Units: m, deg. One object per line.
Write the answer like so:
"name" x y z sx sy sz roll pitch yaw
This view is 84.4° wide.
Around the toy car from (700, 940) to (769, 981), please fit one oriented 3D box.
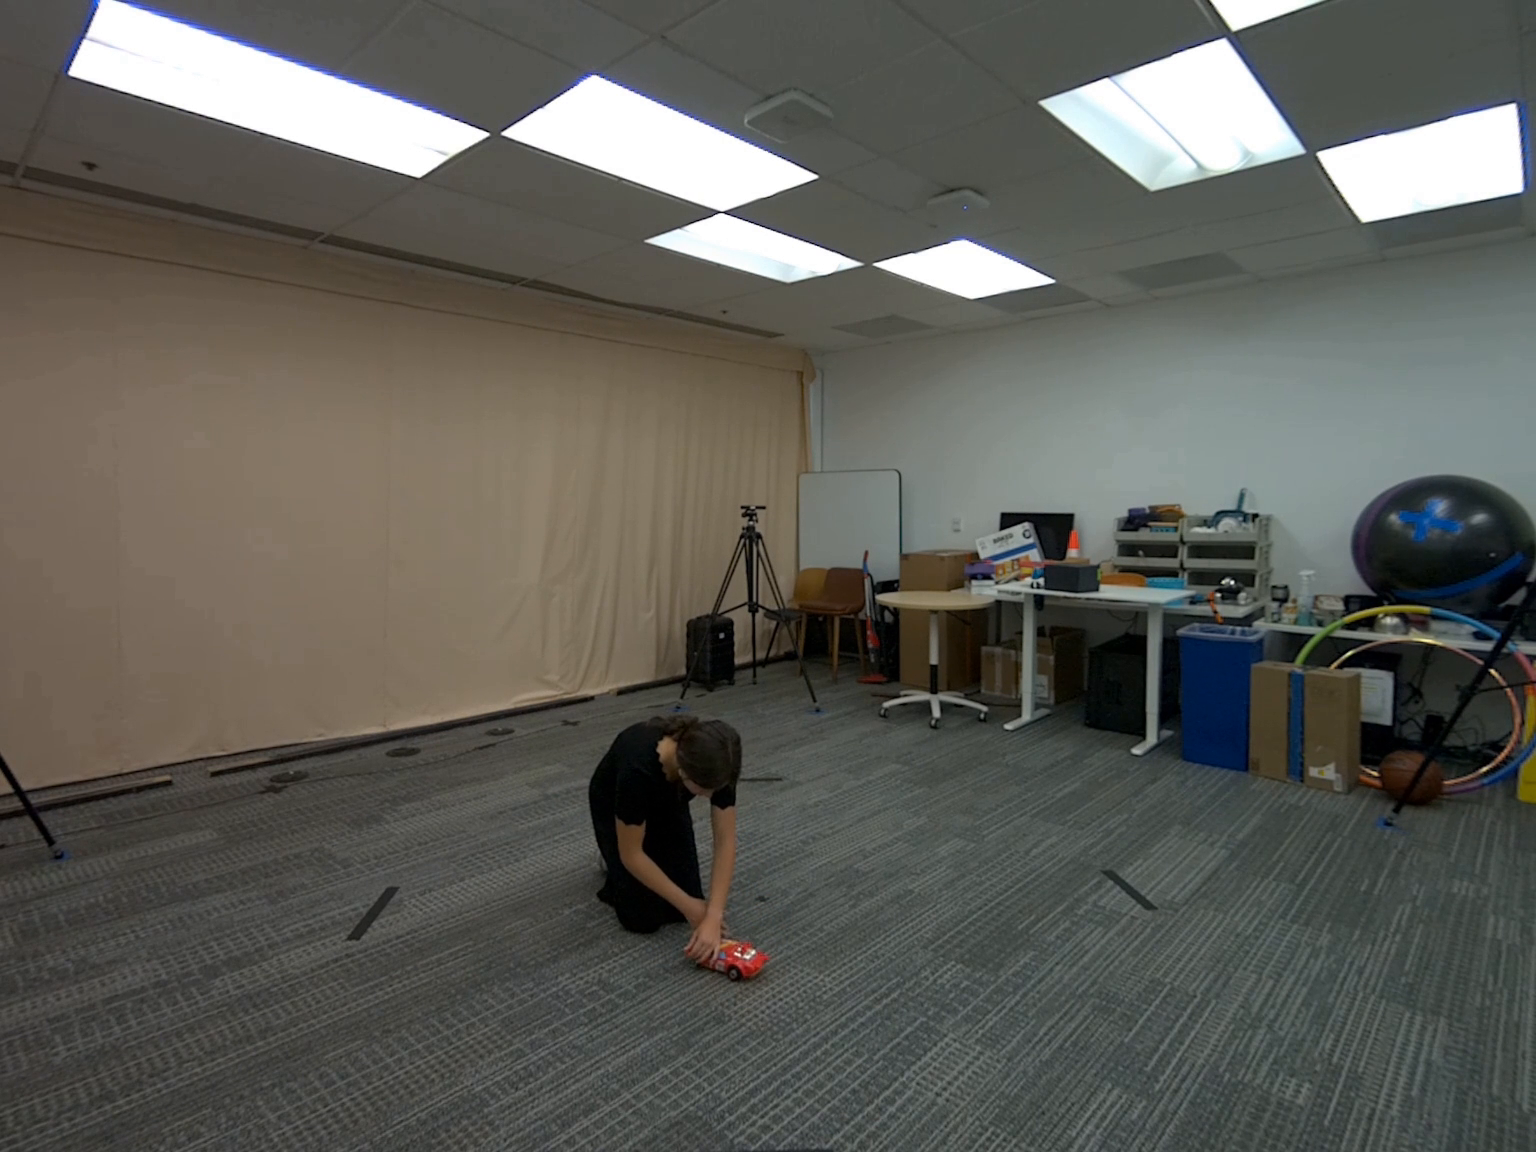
"toy car" -0.114 1.151 2.531 0.261 0.083 0.127 -11 -2 29
